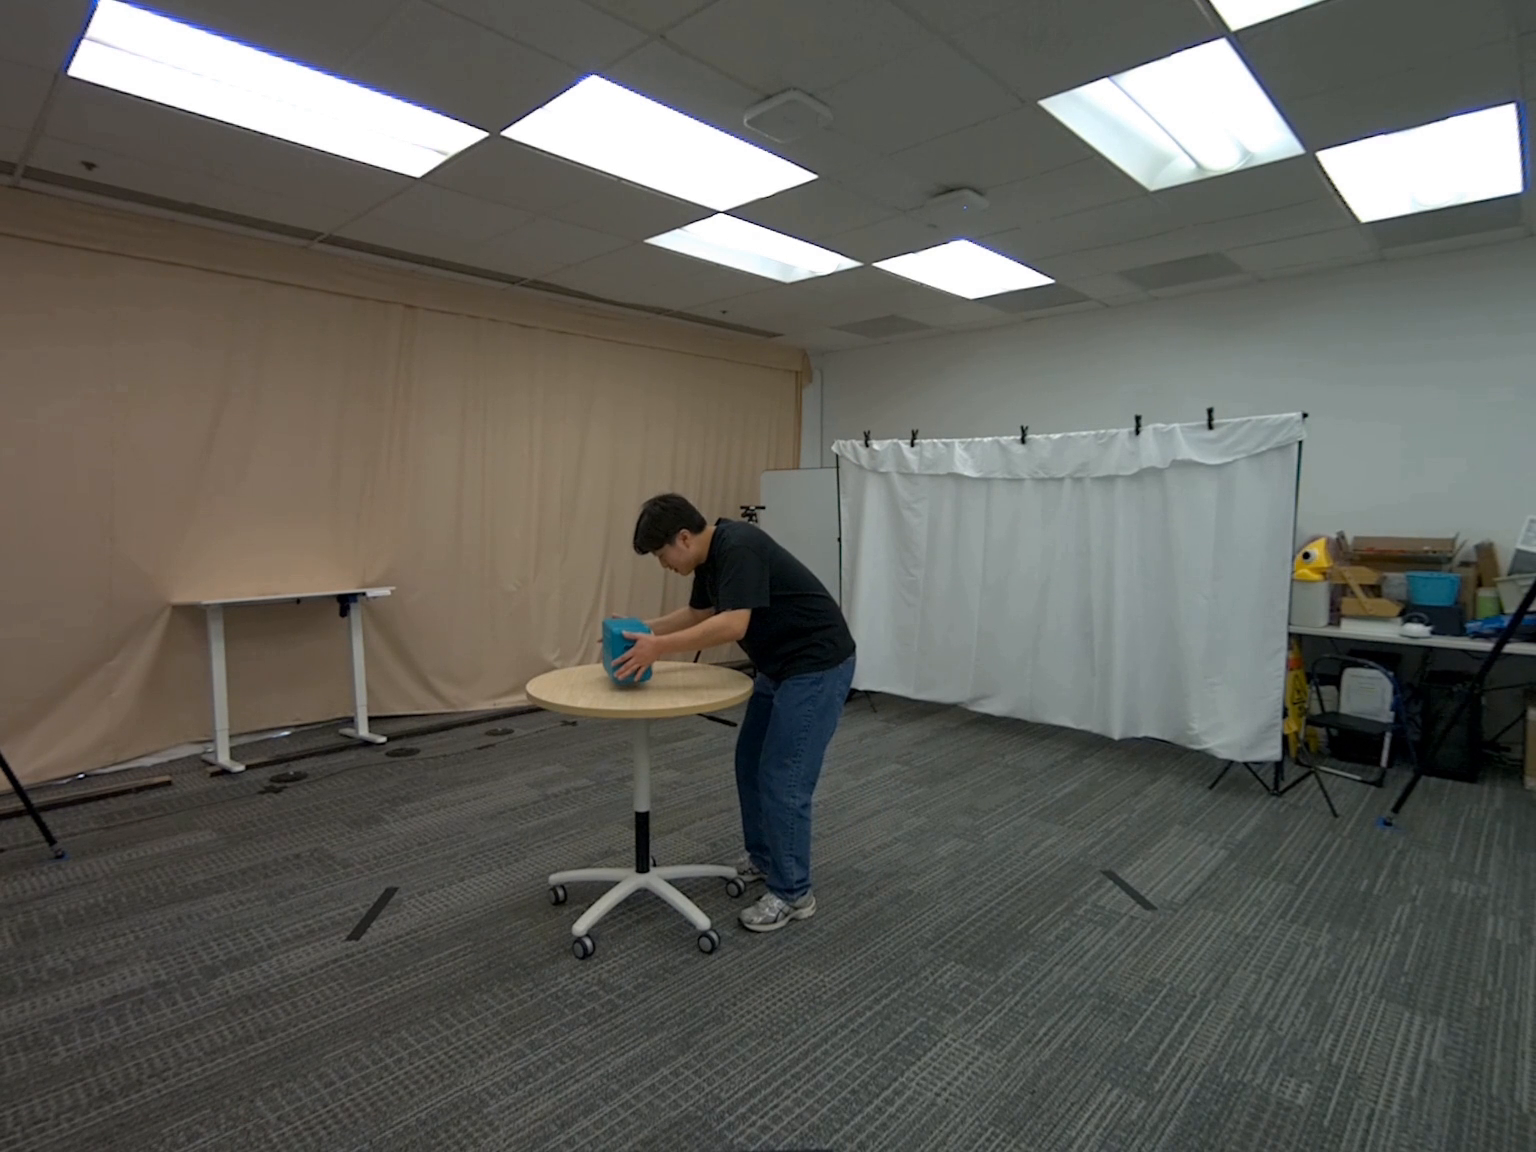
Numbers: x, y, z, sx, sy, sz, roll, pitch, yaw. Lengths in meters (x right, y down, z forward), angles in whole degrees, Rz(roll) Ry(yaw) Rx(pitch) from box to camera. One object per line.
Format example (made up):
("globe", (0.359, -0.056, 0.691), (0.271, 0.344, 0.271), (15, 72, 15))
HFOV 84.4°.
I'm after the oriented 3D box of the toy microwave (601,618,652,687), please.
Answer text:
("toy microwave", (-0.468, 0.252, 2.848), (0.150, 0.184, 0.292), (0, 3, -18))
